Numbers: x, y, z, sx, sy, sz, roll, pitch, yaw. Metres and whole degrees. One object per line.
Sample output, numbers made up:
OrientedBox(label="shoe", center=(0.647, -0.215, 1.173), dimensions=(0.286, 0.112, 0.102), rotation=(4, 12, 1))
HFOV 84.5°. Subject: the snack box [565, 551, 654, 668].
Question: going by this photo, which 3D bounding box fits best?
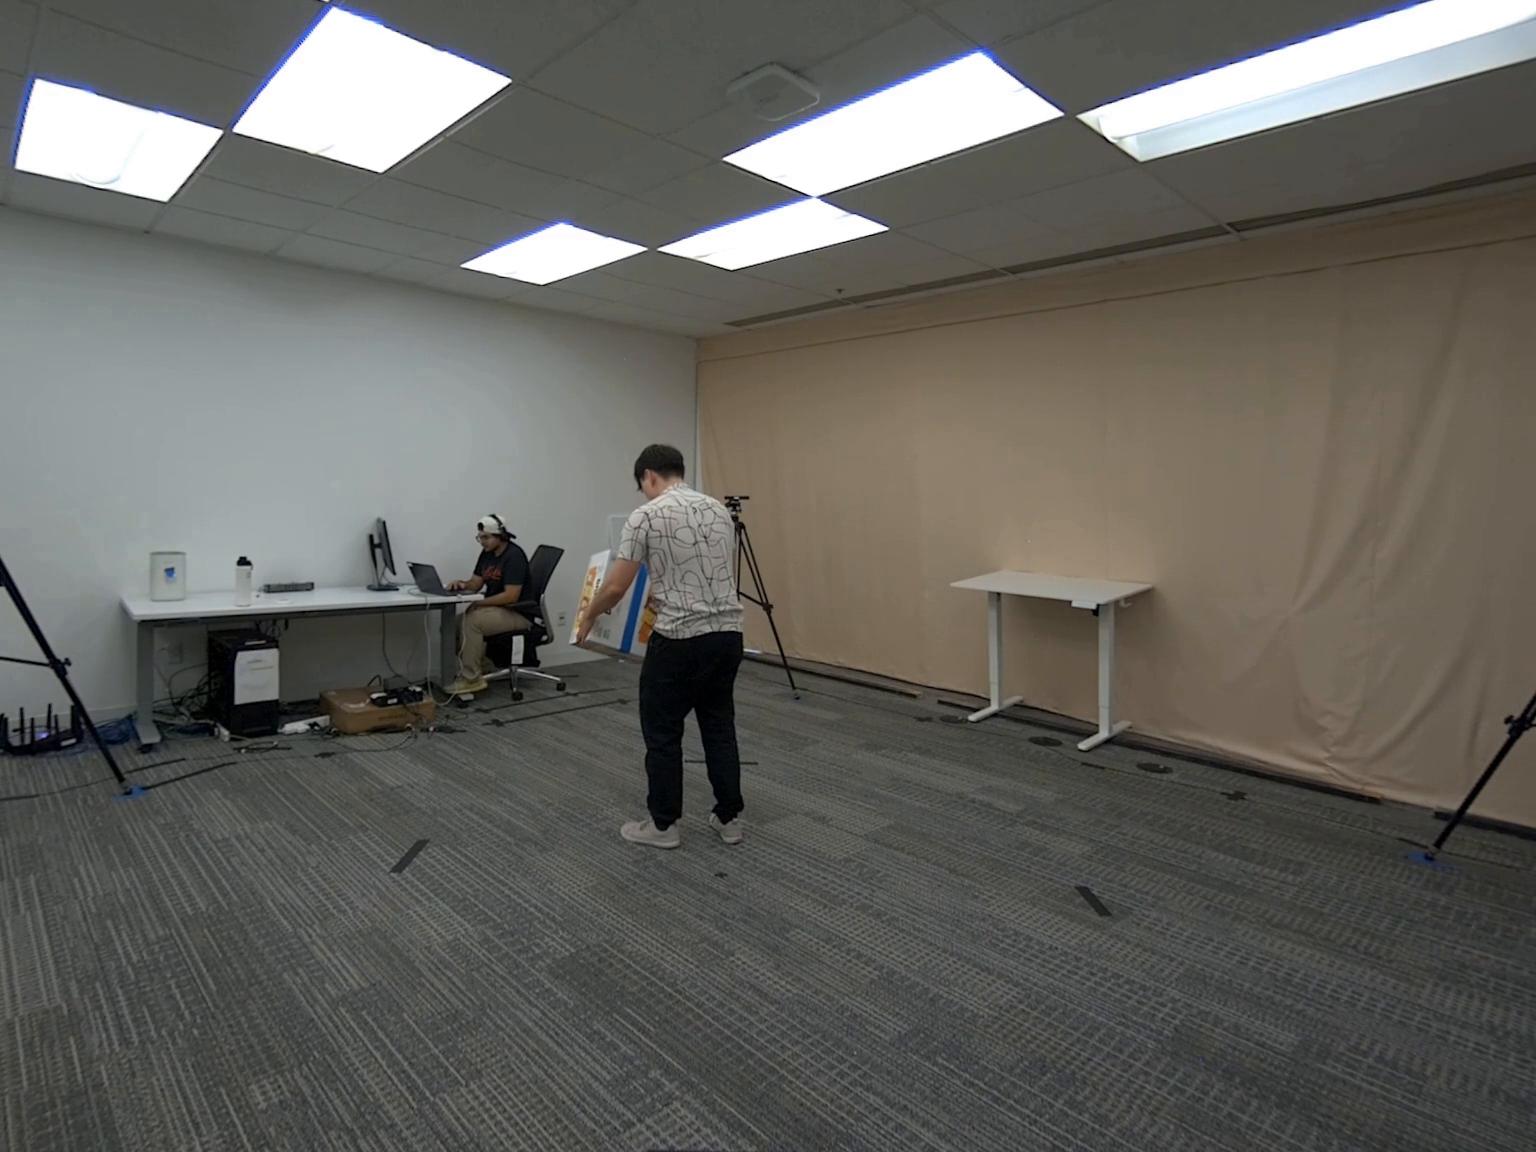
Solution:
OrientedBox(label="snack box", center=(-0.638, 0.152, 3.691), dimensions=(0.331, 0.409, 0.209), rotation=(22, -21, -30))
